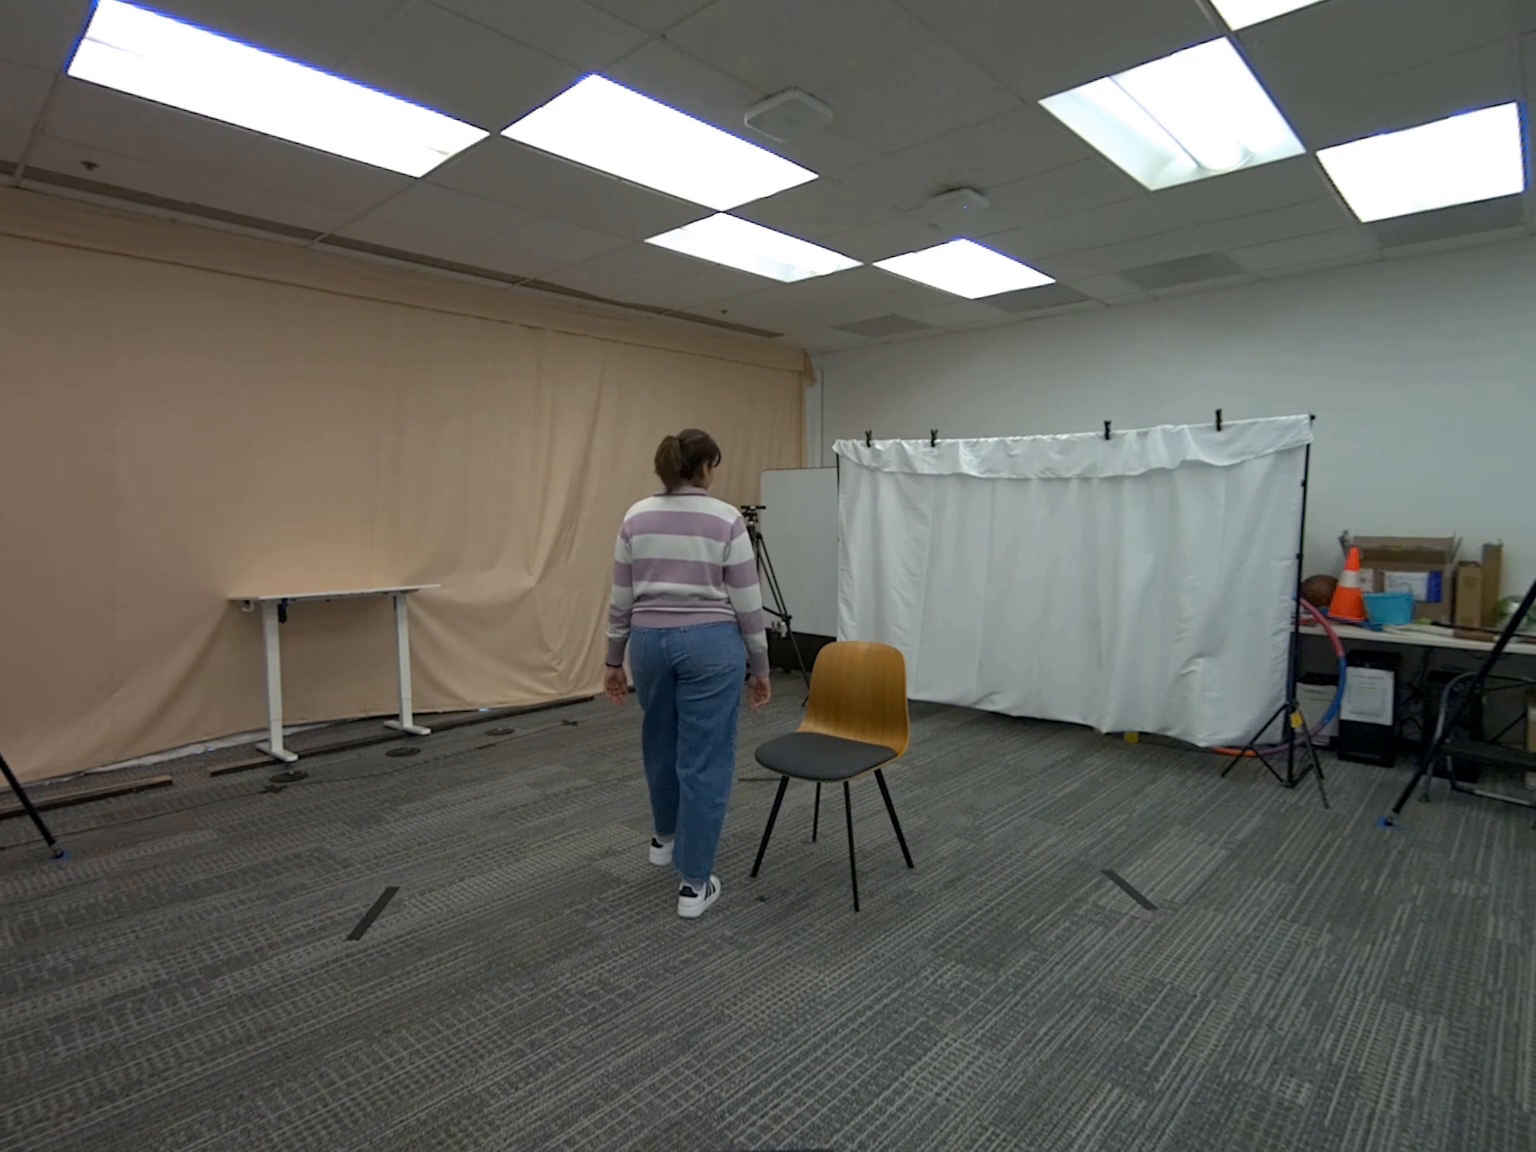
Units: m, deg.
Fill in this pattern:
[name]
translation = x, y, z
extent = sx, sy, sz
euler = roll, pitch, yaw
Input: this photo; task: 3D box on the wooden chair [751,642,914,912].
[wooden chair]
translation = 0.244, 0.699, 3.157
extent = 0.493, 0.877, 0.507
euler = 3, 0, 36
